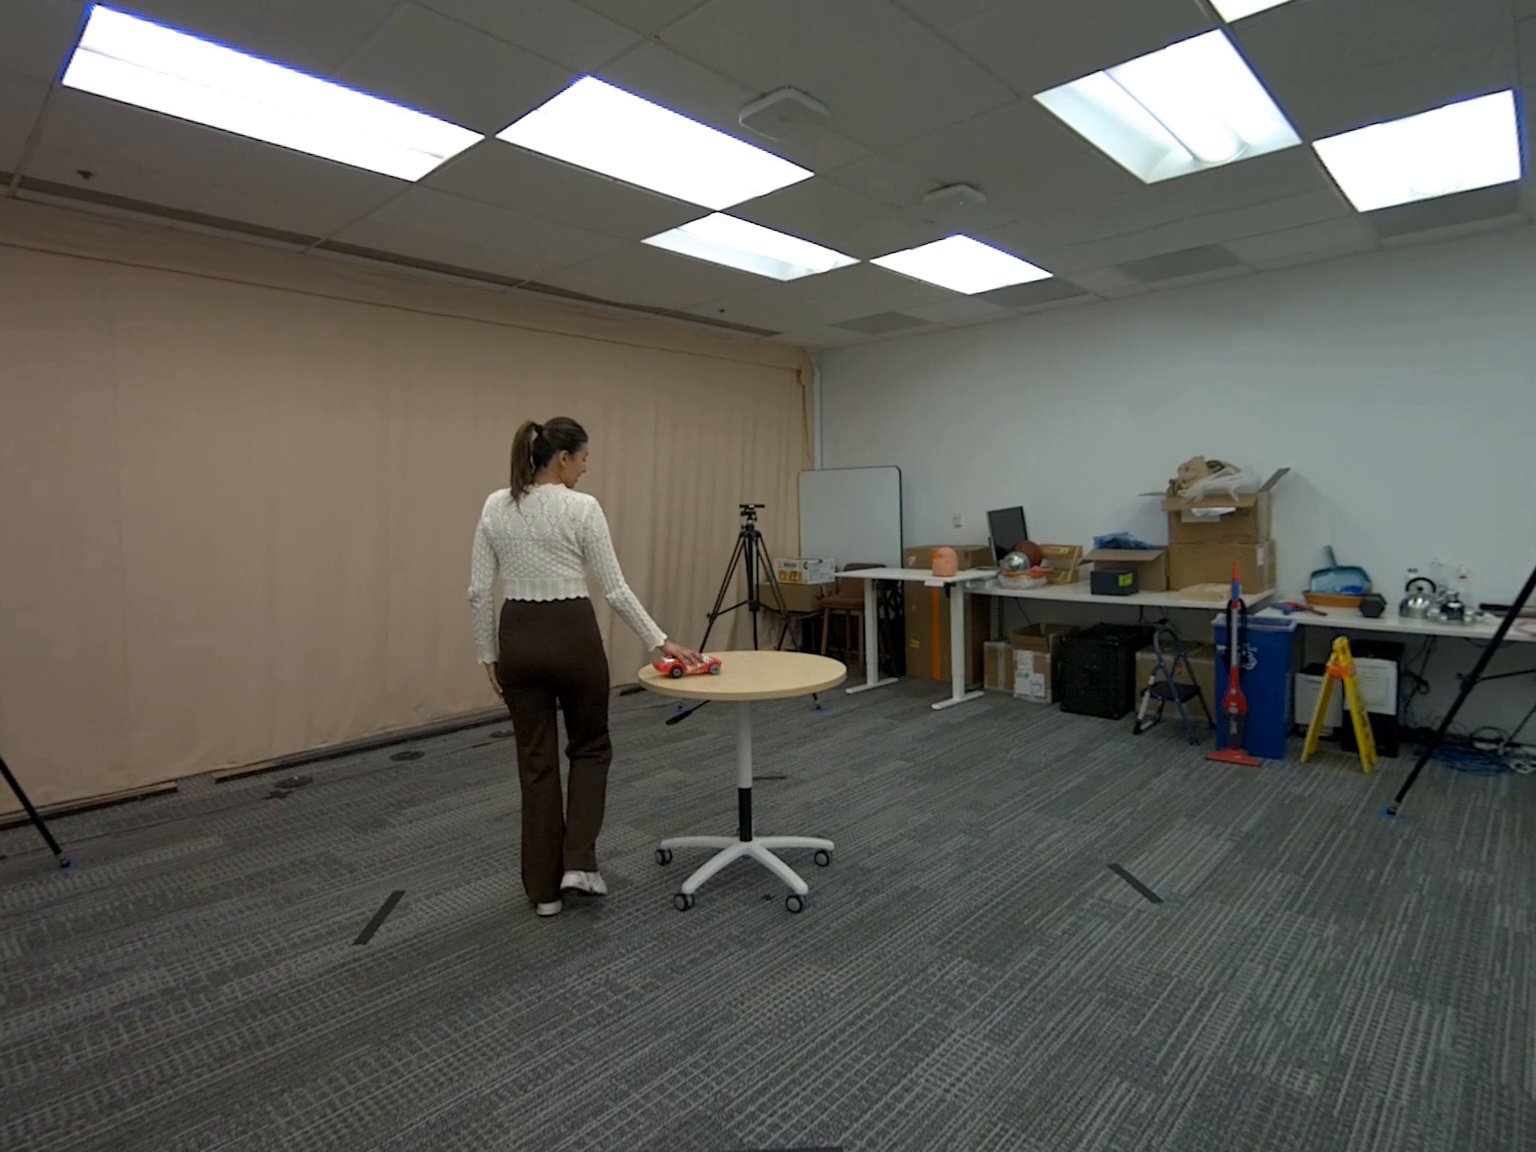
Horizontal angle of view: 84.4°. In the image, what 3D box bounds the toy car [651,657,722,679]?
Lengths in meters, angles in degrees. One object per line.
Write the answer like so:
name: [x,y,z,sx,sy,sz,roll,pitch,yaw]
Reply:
toy car: [-0.299,0.328,3.037,0.249,0.083,0.133,9,0,-22]
